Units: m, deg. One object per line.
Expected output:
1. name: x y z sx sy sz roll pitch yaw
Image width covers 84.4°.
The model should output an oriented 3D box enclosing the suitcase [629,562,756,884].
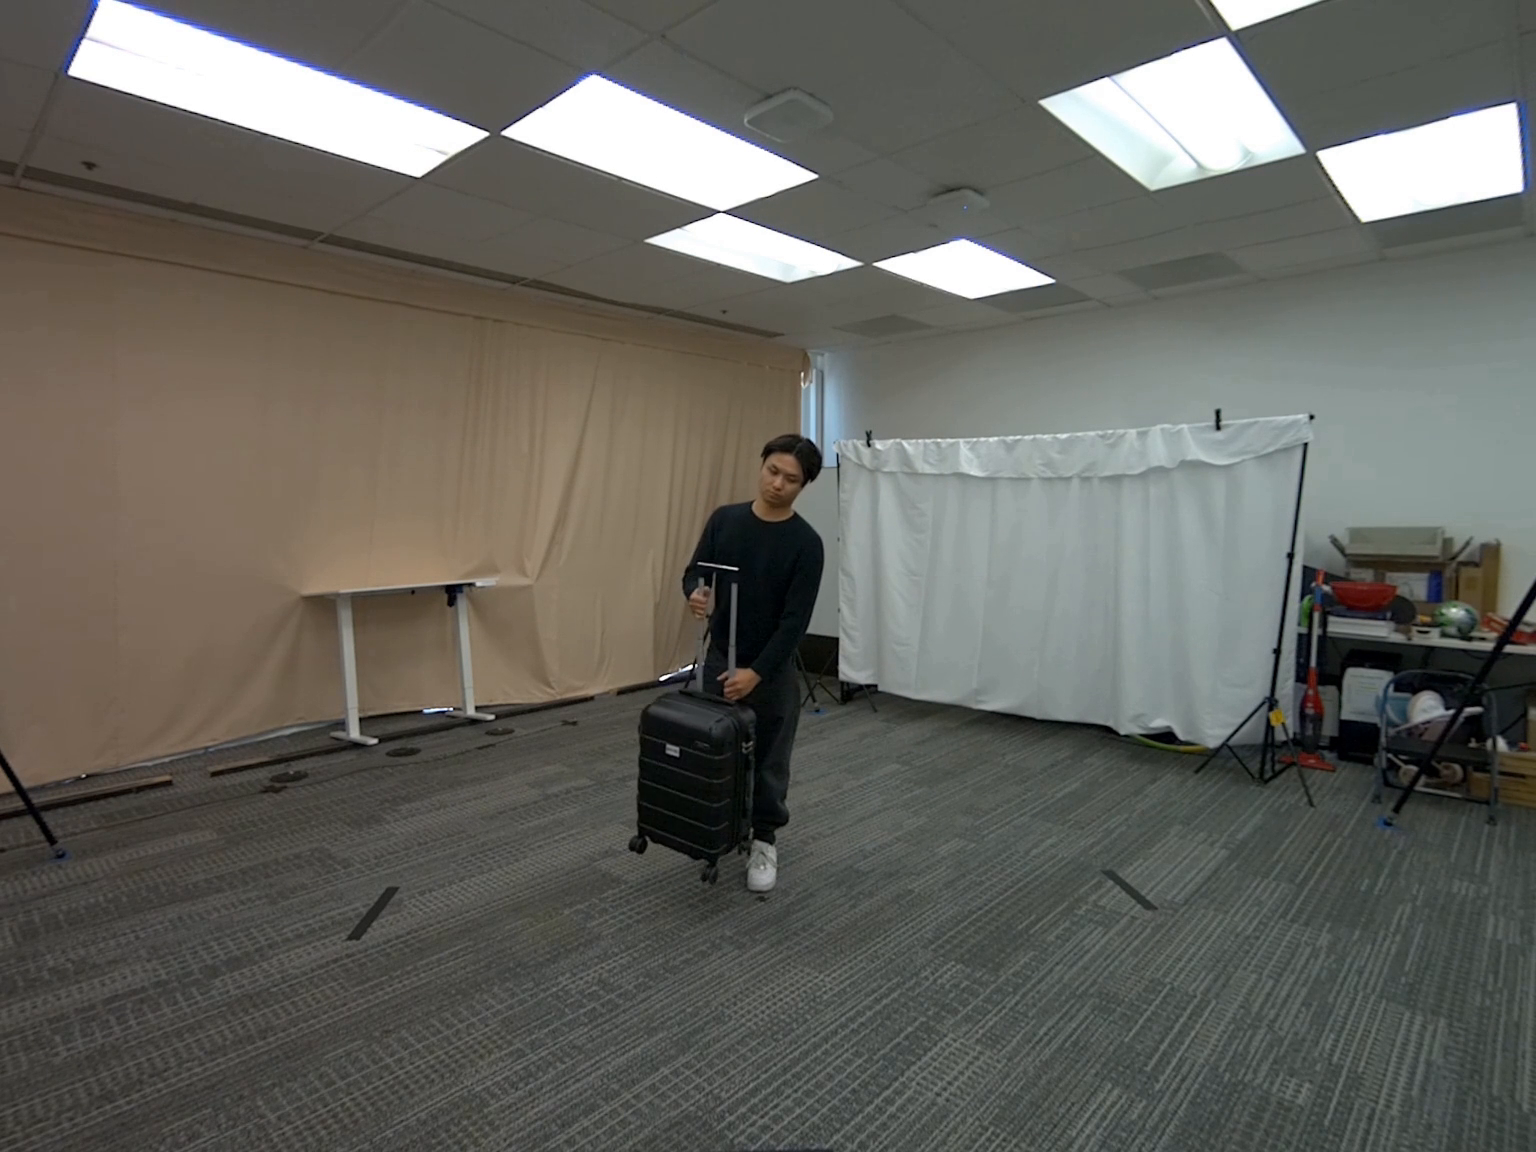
1. suitcase: -0.238 0.487 2.808 0.396 0.972 0.251 8 13 30
